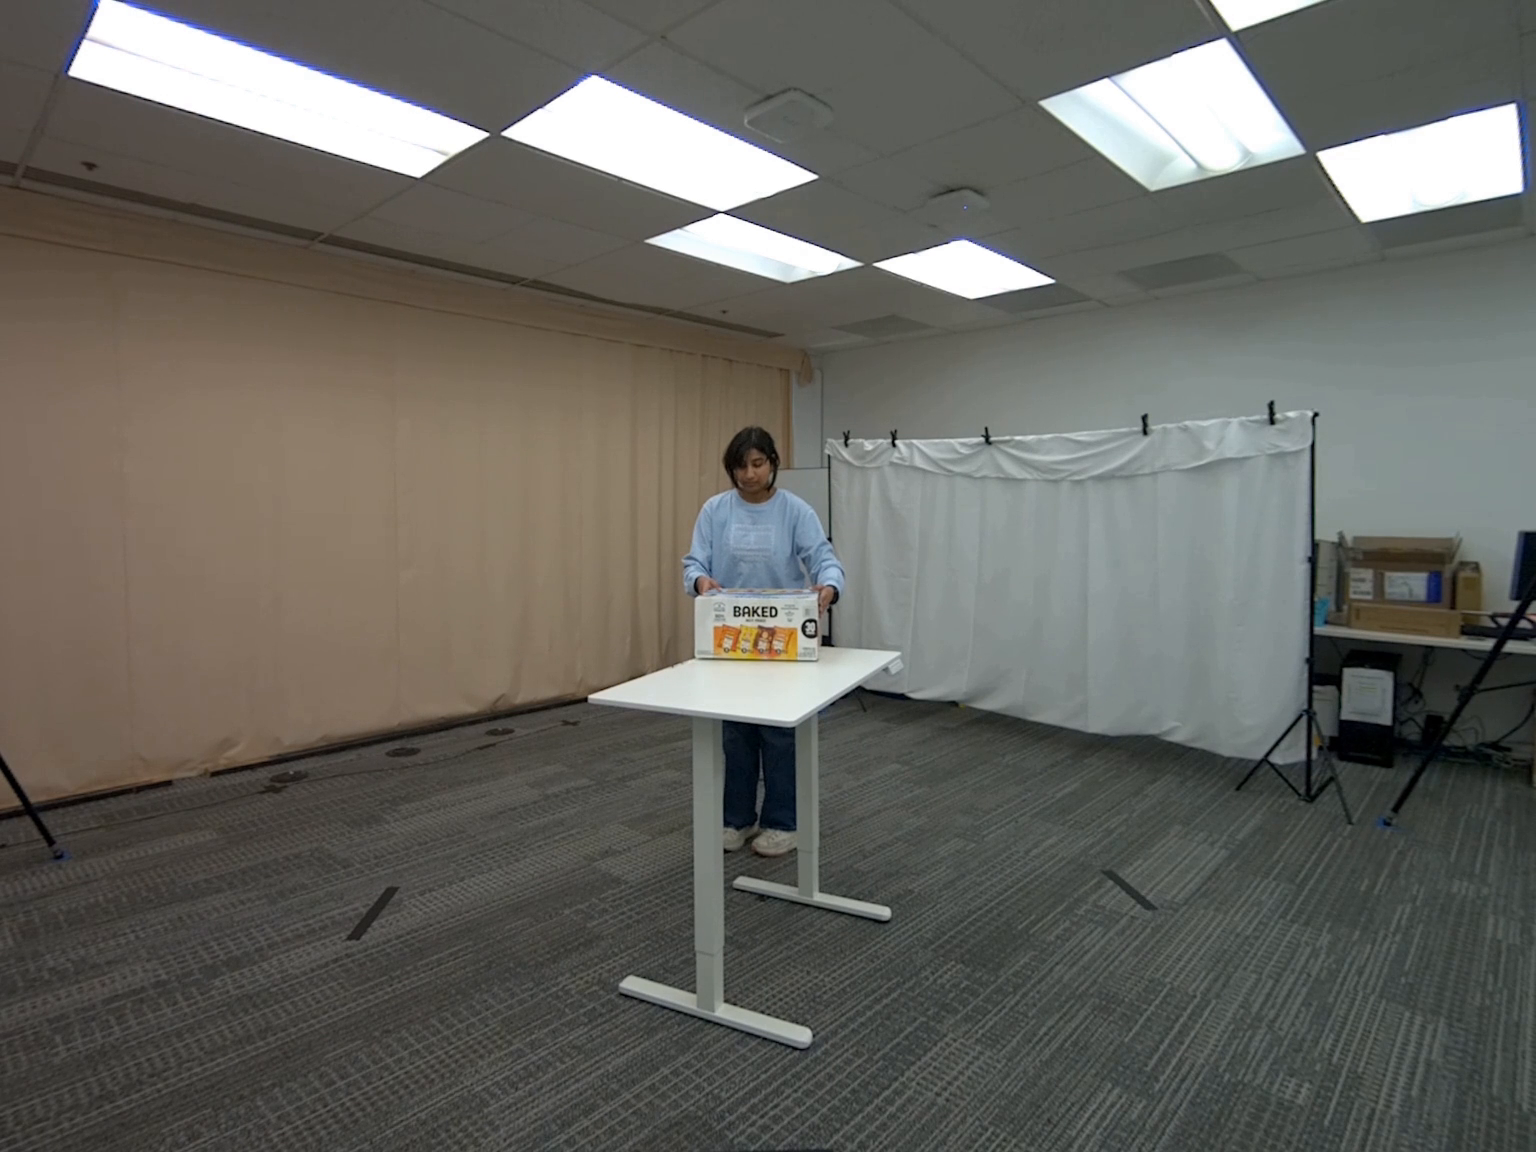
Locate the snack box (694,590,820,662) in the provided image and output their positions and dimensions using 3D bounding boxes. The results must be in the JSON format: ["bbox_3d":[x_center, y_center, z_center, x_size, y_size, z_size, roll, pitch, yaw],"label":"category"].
[{"bbox_3d":[-0.020,0.164,2.922,0.409,0.205,0.337,0,4,9],"label":"snack box"}]
